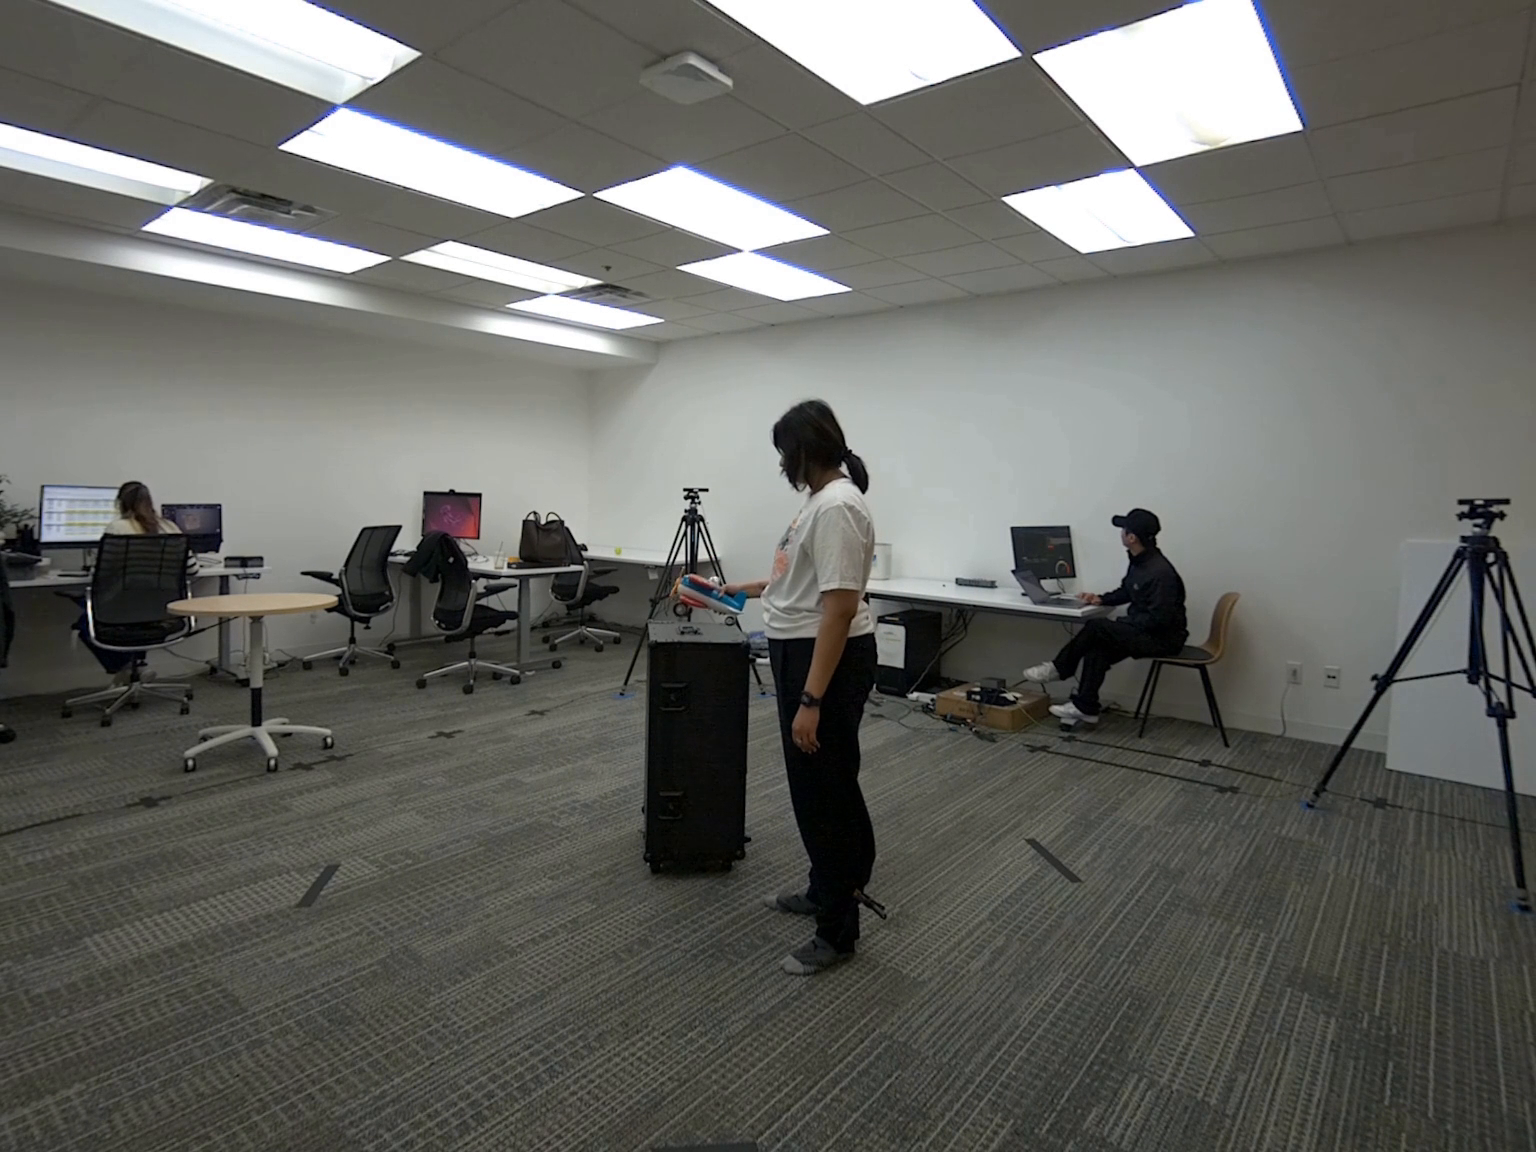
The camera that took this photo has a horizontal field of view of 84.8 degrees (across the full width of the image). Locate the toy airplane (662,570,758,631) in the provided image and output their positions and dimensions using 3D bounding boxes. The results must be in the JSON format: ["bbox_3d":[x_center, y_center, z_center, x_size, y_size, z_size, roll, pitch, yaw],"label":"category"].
[{"bbox_3d":[-0.214,0.084,3.020,0.253,0.156,0.257,9,1,-20],"label":"toy airplane"}]
